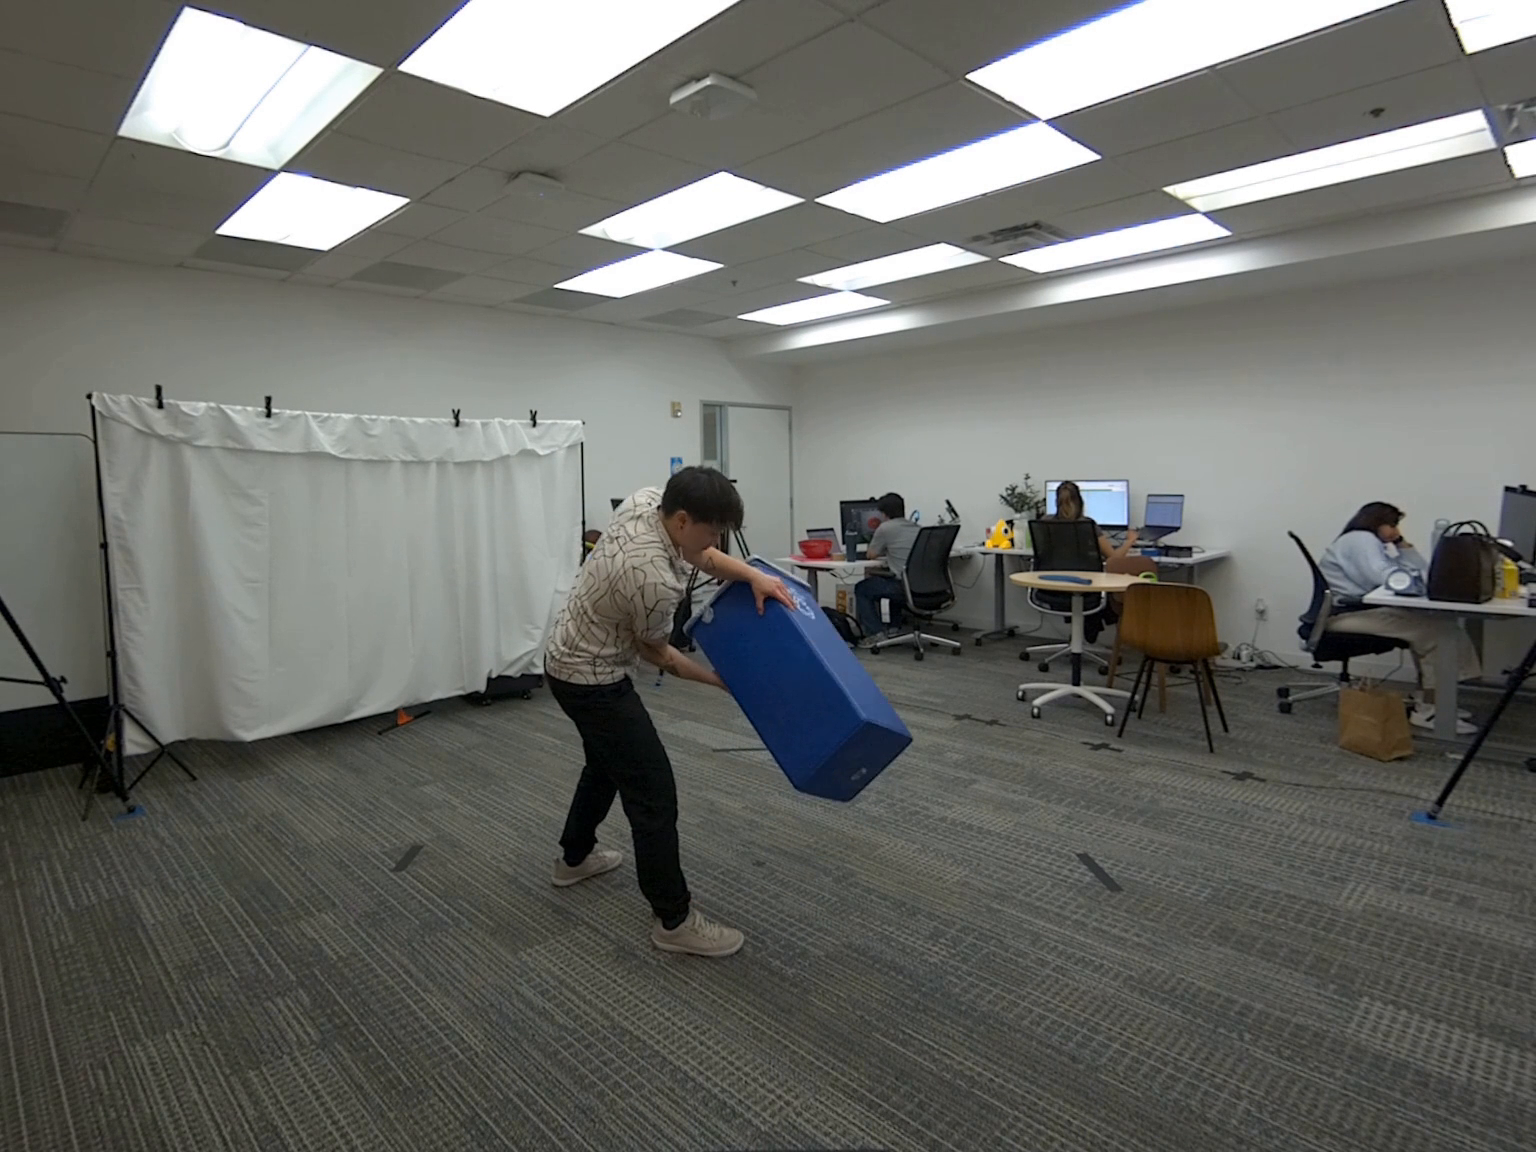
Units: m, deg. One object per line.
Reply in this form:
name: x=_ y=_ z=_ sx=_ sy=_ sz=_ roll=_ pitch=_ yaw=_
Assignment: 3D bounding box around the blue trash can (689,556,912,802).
blue trash can: x=0.104 y=0.330 z=2.765 sx=0.363 sy=0.374 sz=0.742 roll=30 pitch=17 yaw=-48
